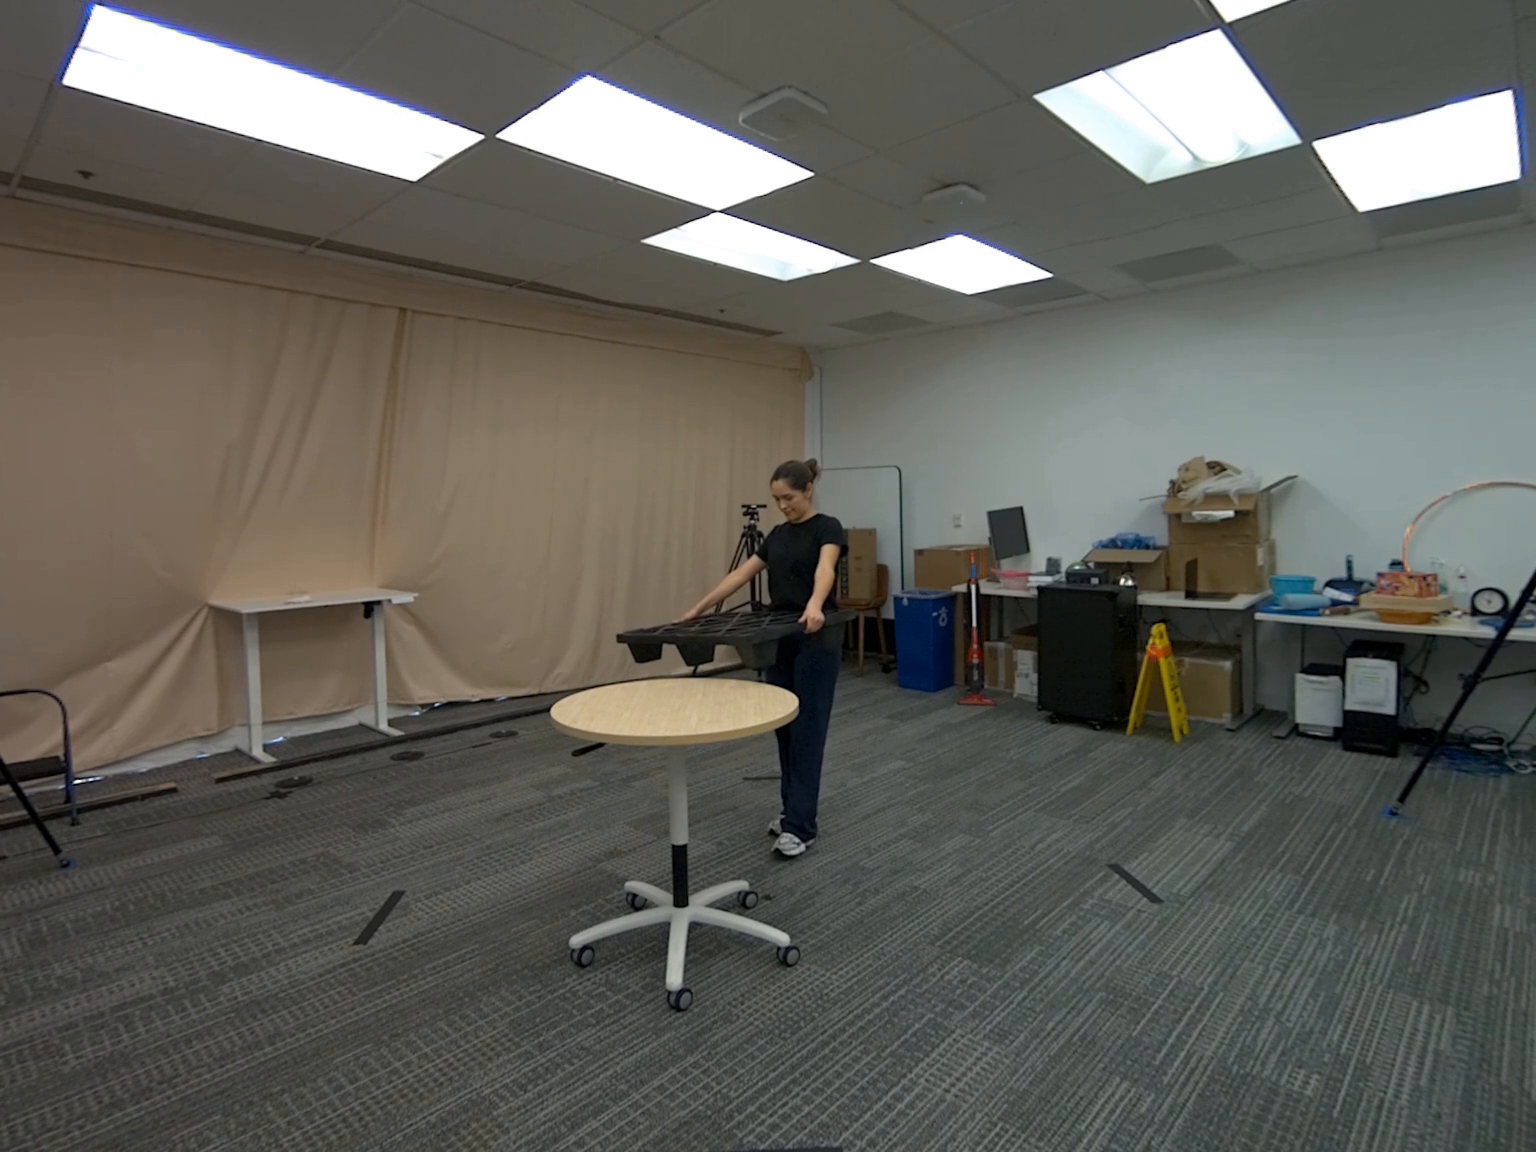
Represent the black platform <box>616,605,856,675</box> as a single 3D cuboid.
[{"bbox_3d":[-0.134,0.243,3.360,0.588,0.143,0.830,-10,4,-42],"label":"black platform"}]
